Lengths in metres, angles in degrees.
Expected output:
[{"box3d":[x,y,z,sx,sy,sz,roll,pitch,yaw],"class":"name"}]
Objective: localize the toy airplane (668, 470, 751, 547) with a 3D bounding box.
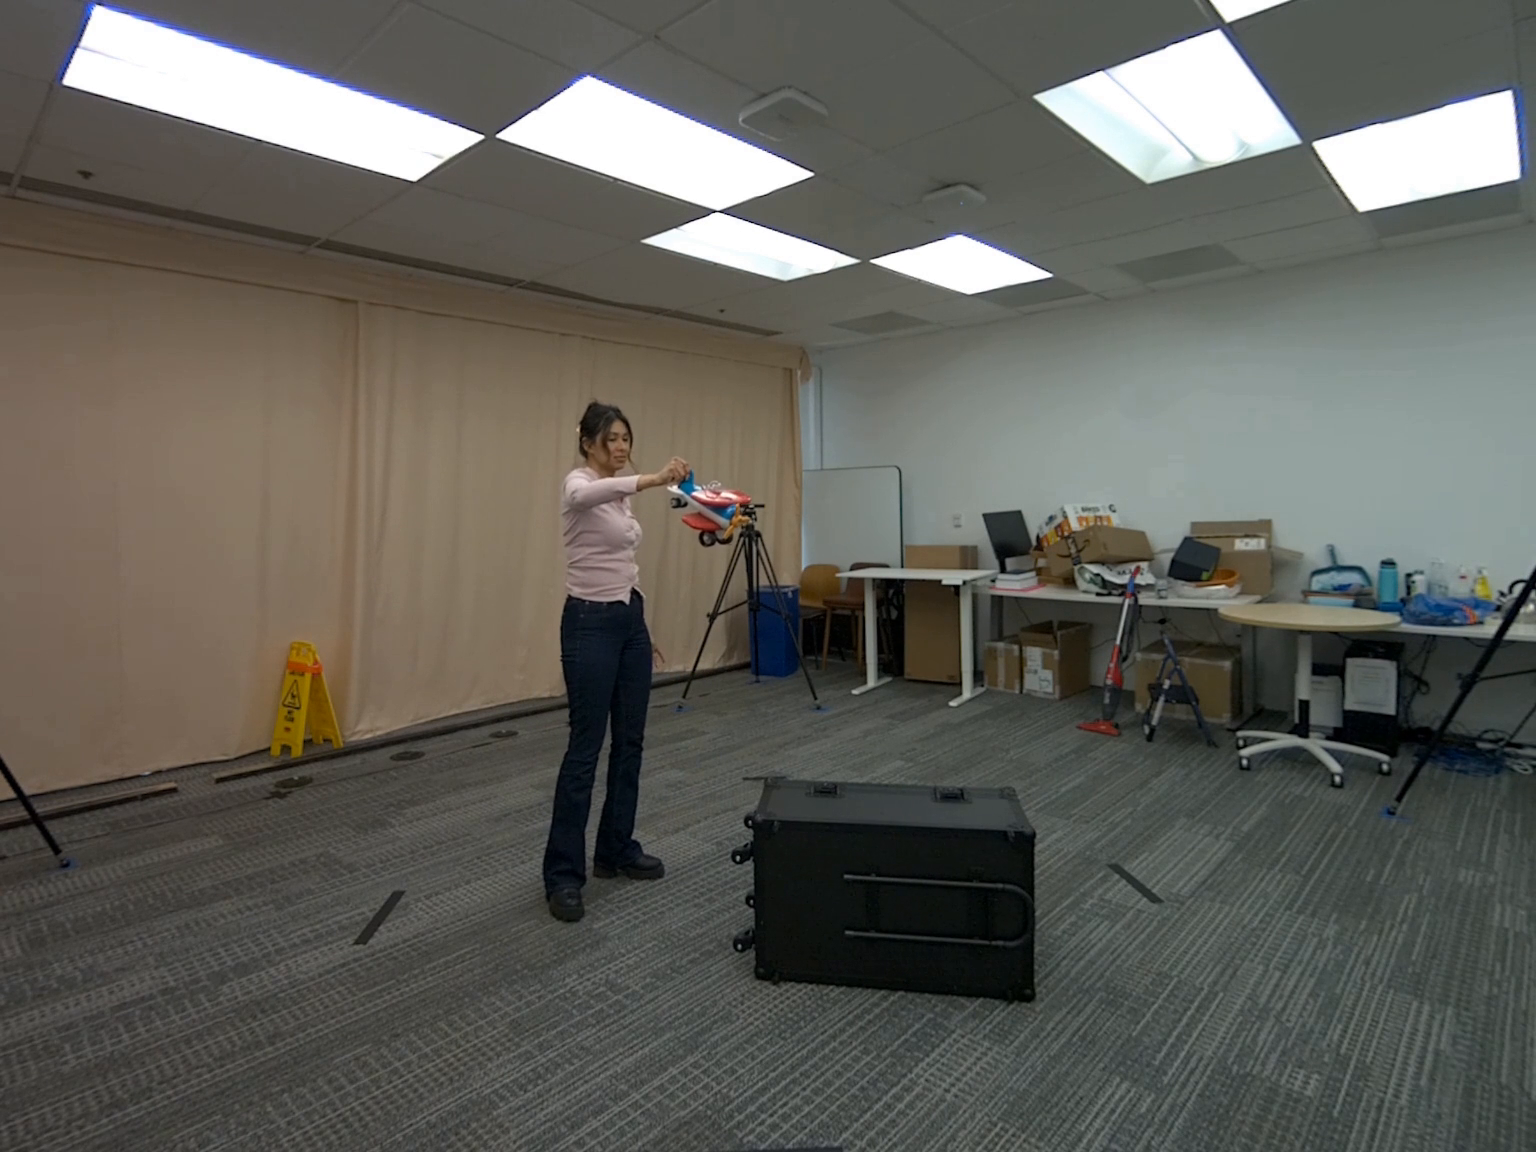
[{"box3d":[-0.190,-0.212,2.563,0.258,0.157,0.251,34,26,-3],"class":"toy airplane"}]
